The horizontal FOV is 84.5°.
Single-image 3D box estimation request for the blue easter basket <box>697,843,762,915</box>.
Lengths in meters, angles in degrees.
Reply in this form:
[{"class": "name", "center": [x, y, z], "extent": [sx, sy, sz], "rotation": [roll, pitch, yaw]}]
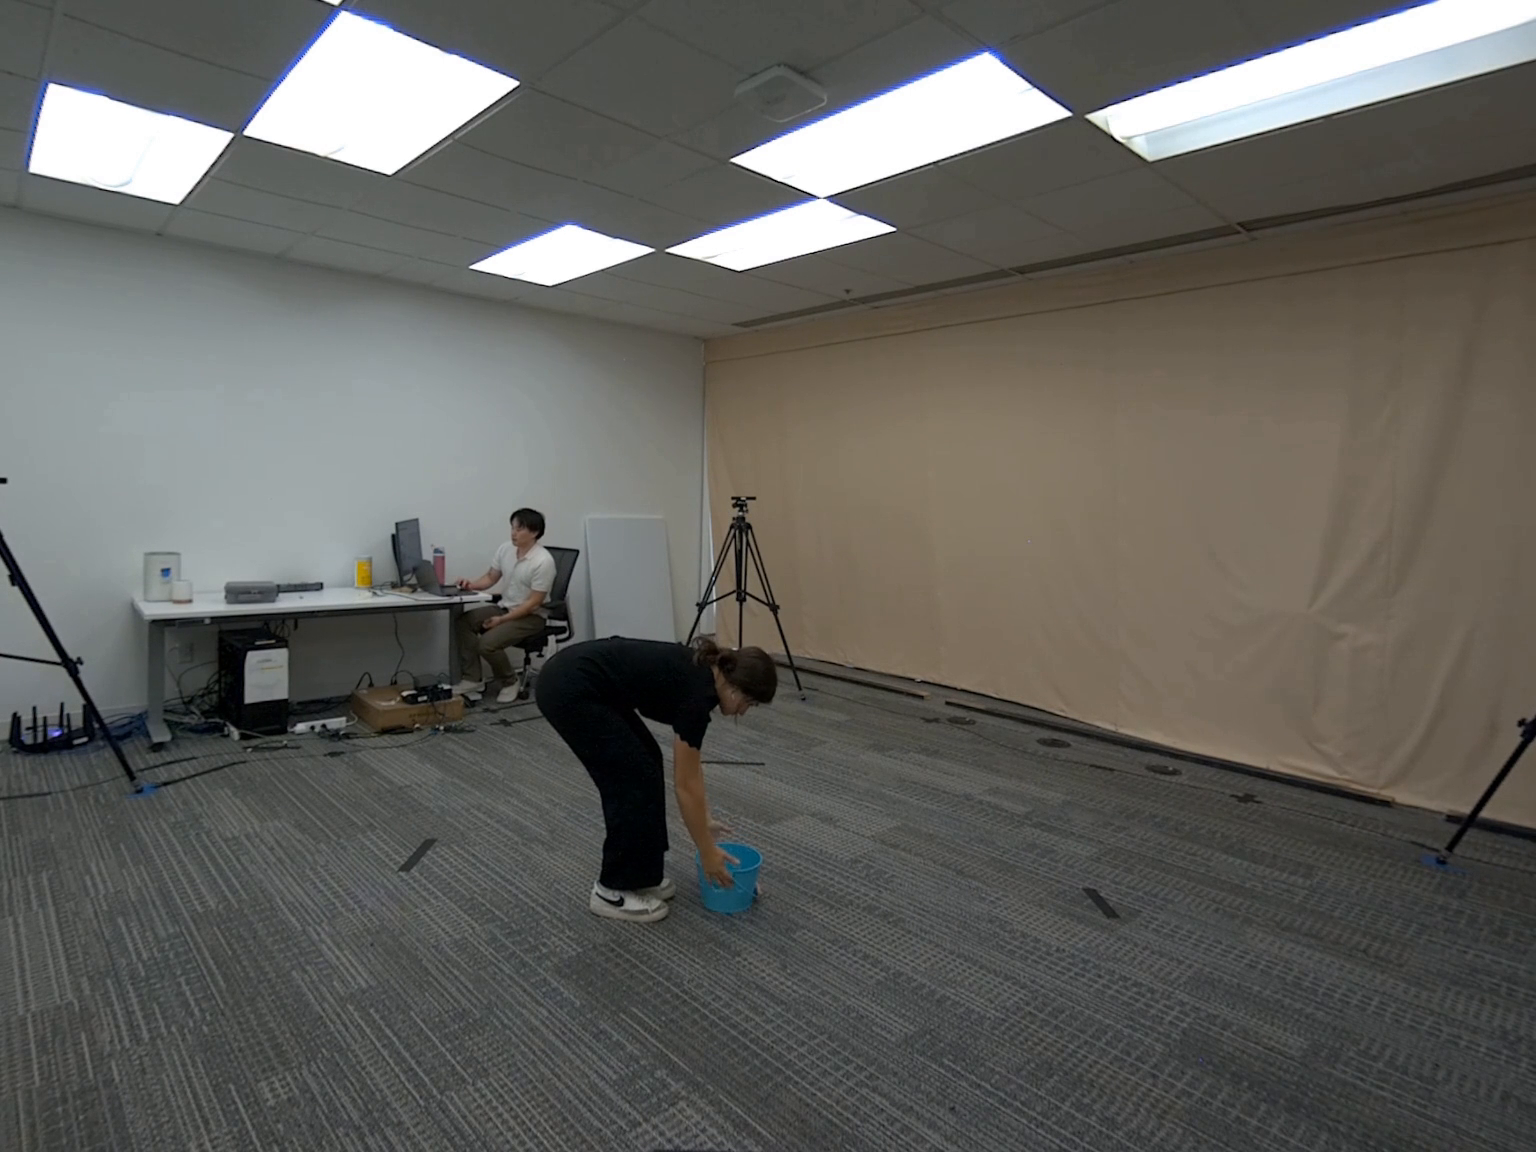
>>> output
[{"class": "blue easter basket", "center": [-0.146, 1.040, 2.907], "extent": [0.243, 0.155, 0.244], "rotation": [4, 5, -2]}]
